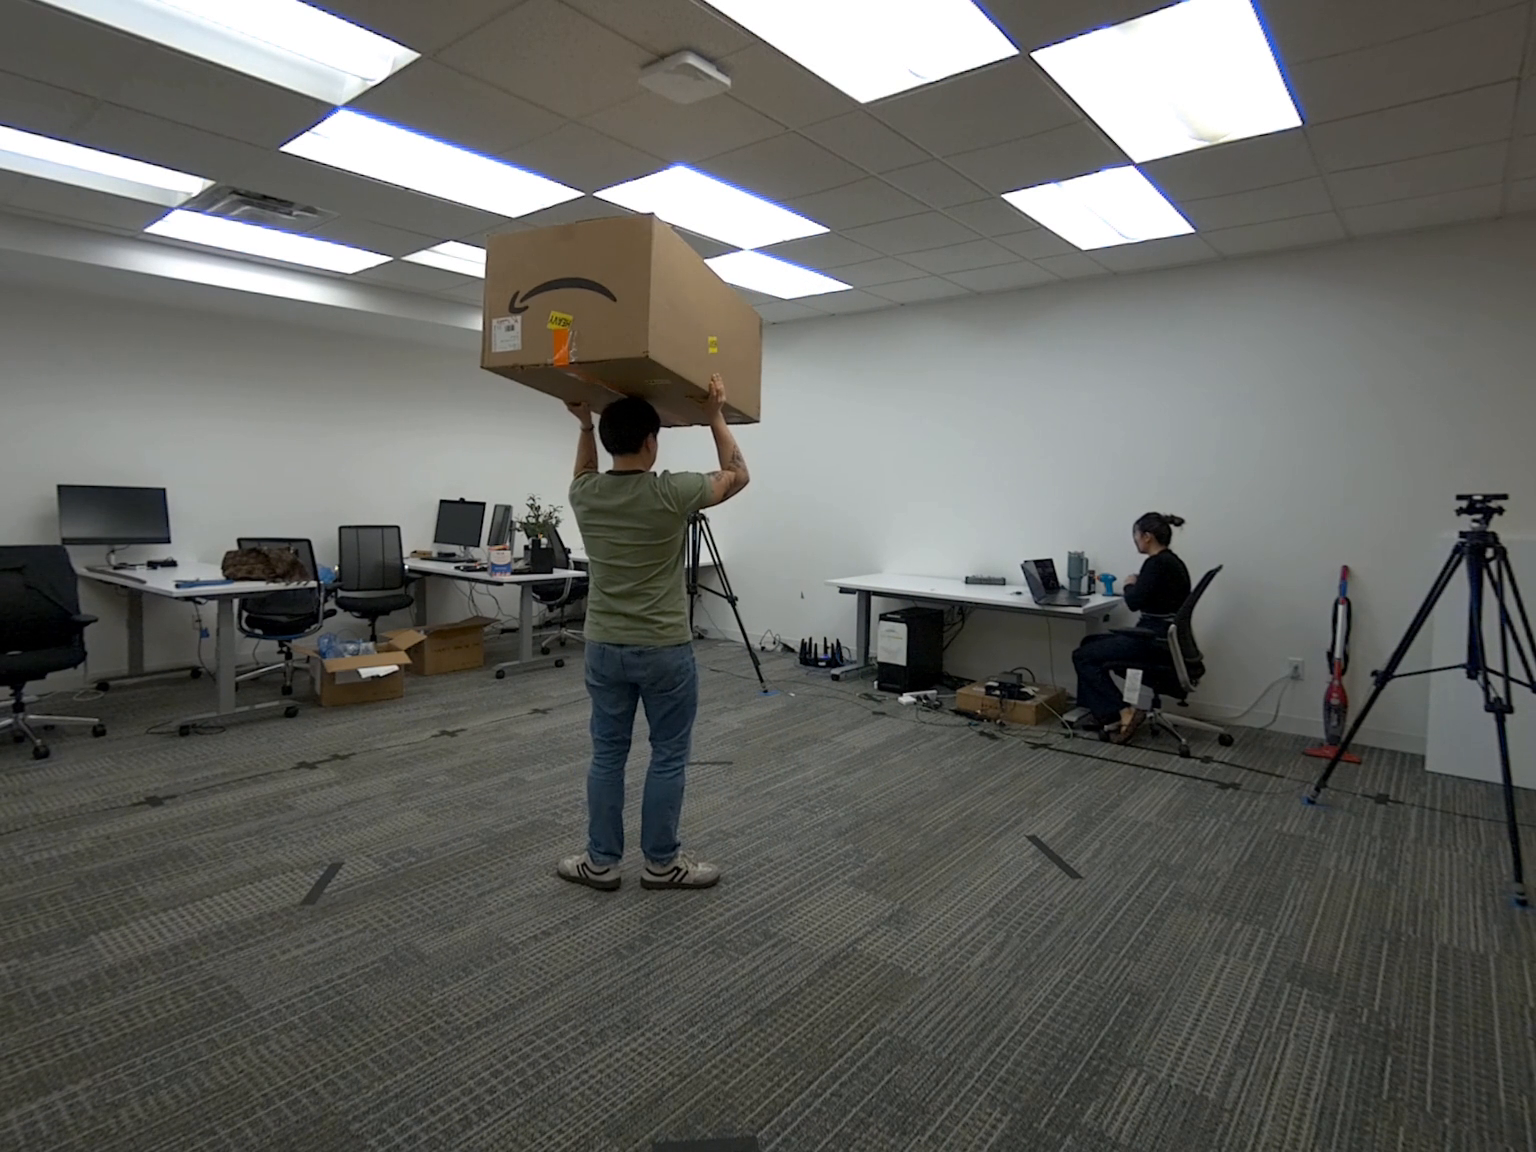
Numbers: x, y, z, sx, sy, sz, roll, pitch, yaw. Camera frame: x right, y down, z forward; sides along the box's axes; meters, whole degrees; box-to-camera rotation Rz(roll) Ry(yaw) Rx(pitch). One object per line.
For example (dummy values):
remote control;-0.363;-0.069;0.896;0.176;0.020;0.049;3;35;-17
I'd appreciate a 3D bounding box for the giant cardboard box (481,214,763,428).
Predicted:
giant cardboard box;-0.457;-0.823;2.971;0.590;0.427;1.003;1;-1;19
